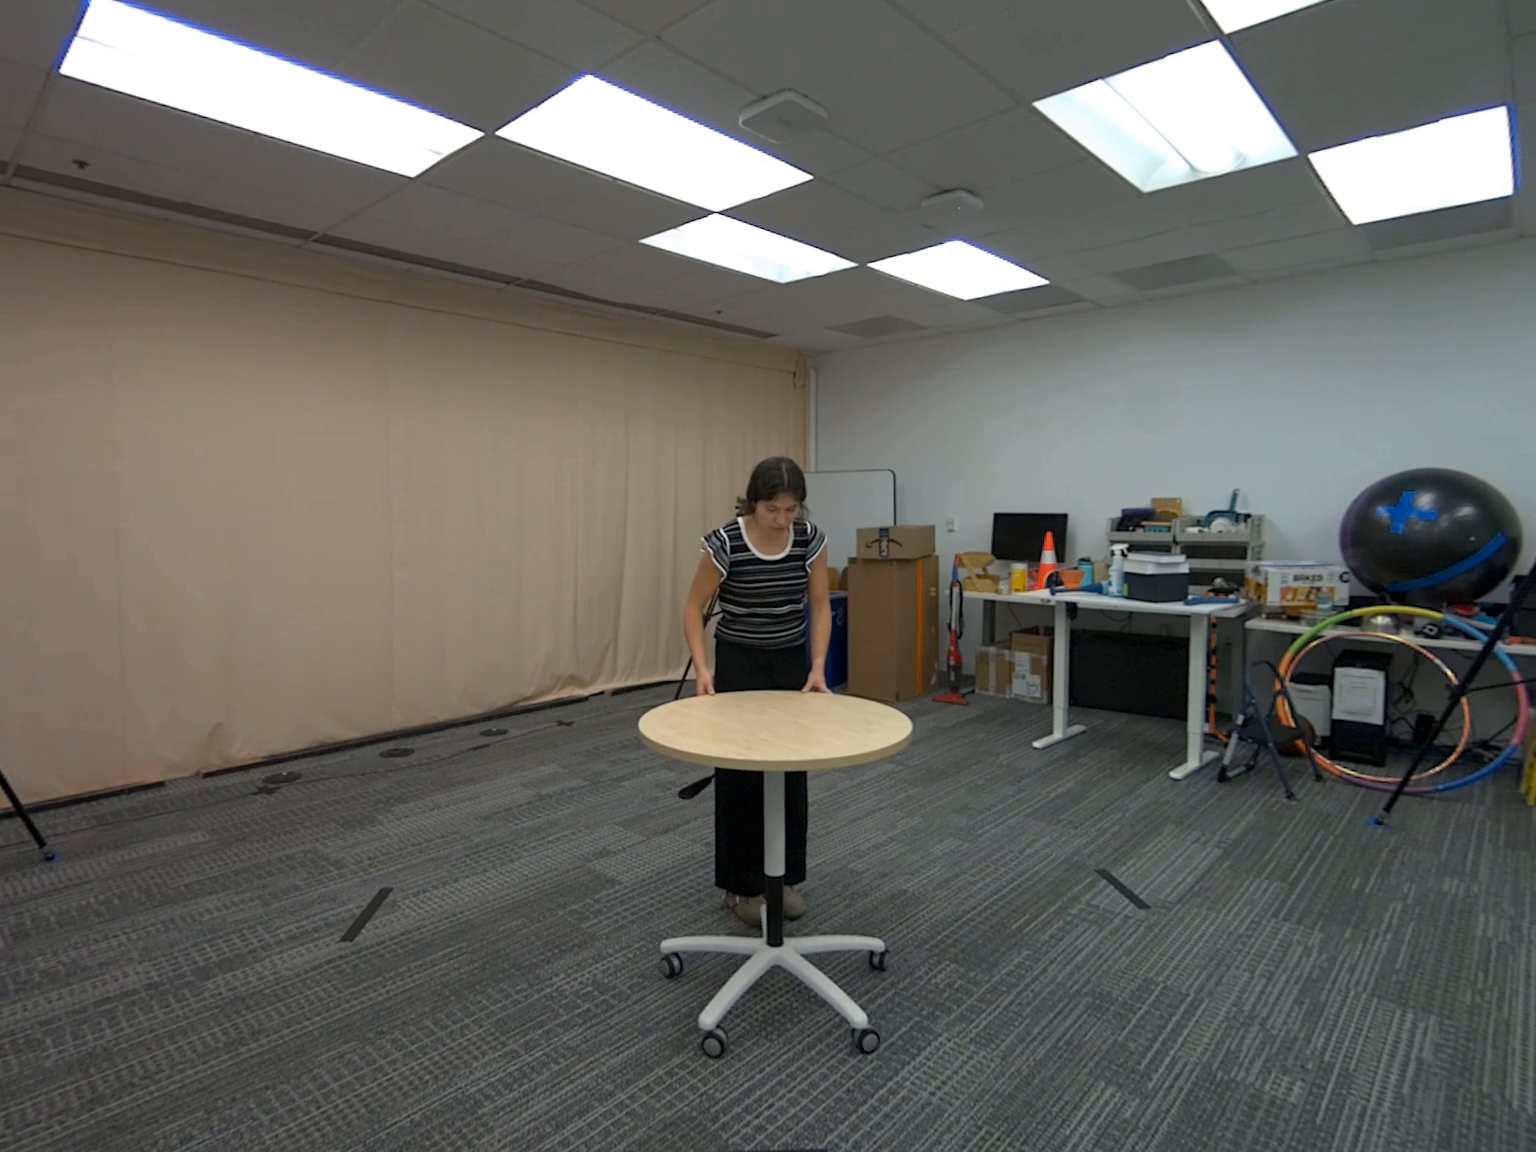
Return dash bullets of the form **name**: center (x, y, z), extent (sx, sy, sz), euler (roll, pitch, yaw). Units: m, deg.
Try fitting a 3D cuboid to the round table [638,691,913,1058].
- **round table**: center (0.027, 0.795, 2.413), extent (0.784, 0.784, 0.788), euler (0, 4, -2)
